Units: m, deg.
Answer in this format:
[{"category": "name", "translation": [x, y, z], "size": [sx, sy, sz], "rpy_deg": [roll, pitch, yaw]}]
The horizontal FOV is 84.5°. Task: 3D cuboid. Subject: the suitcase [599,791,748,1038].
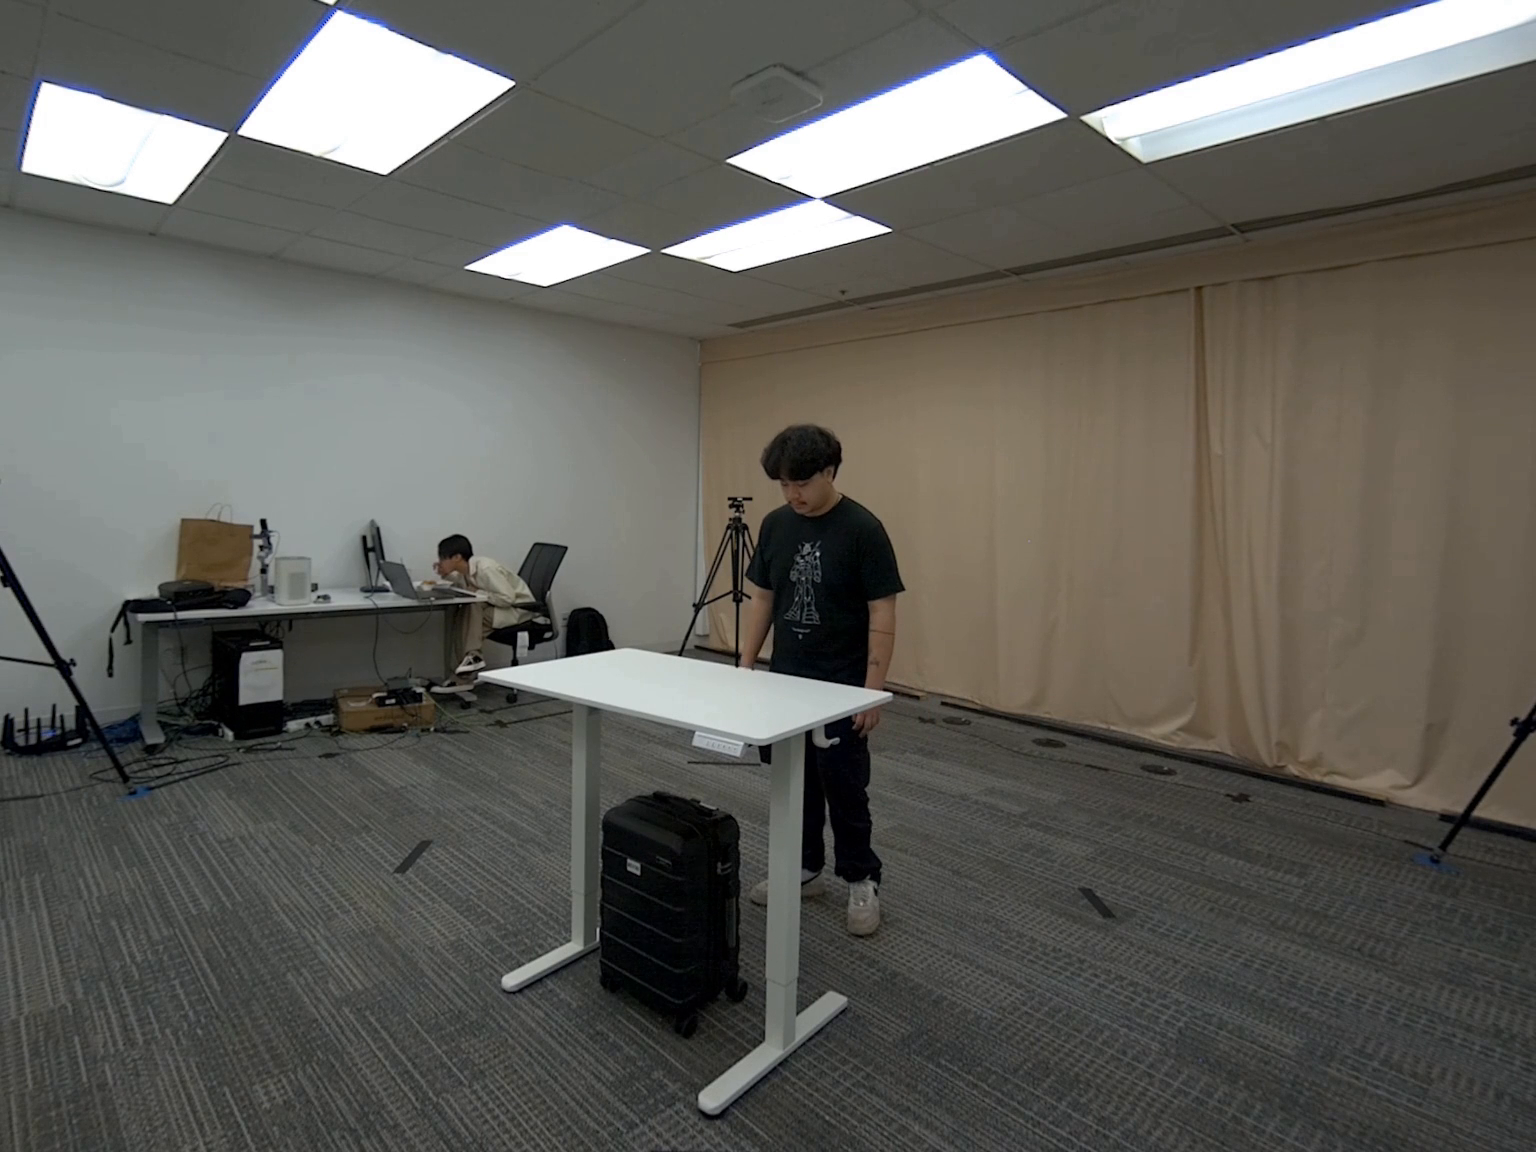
[{"category": "suitcase", "translation": [-0.273, 0.904, 2.320], "size": [0.385, 0.547, 0.243], "rpy_deg": [5, 7, 40]}]
